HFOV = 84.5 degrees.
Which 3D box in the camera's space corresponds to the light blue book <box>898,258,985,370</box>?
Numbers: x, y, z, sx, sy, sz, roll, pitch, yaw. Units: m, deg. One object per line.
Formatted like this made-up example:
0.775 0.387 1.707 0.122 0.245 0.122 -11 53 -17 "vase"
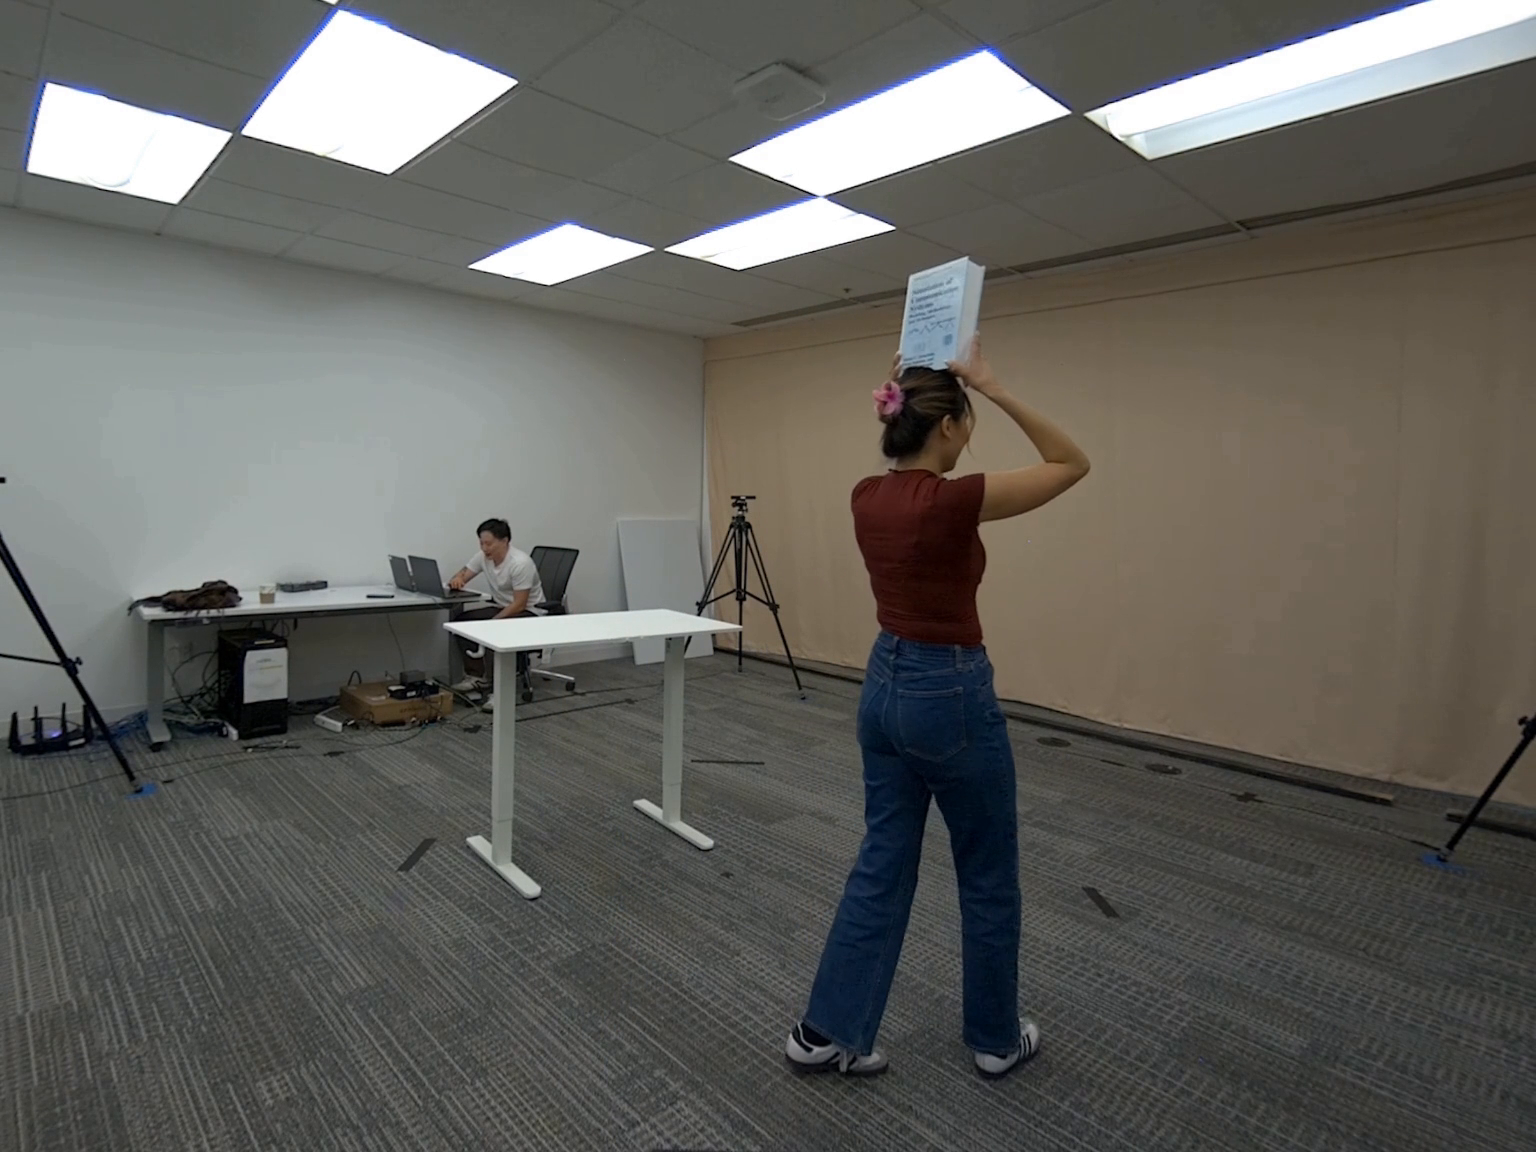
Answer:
0.399 -0.598 1.990 0.057 0.262 0.196 12 -5 -35 "light blue book"
